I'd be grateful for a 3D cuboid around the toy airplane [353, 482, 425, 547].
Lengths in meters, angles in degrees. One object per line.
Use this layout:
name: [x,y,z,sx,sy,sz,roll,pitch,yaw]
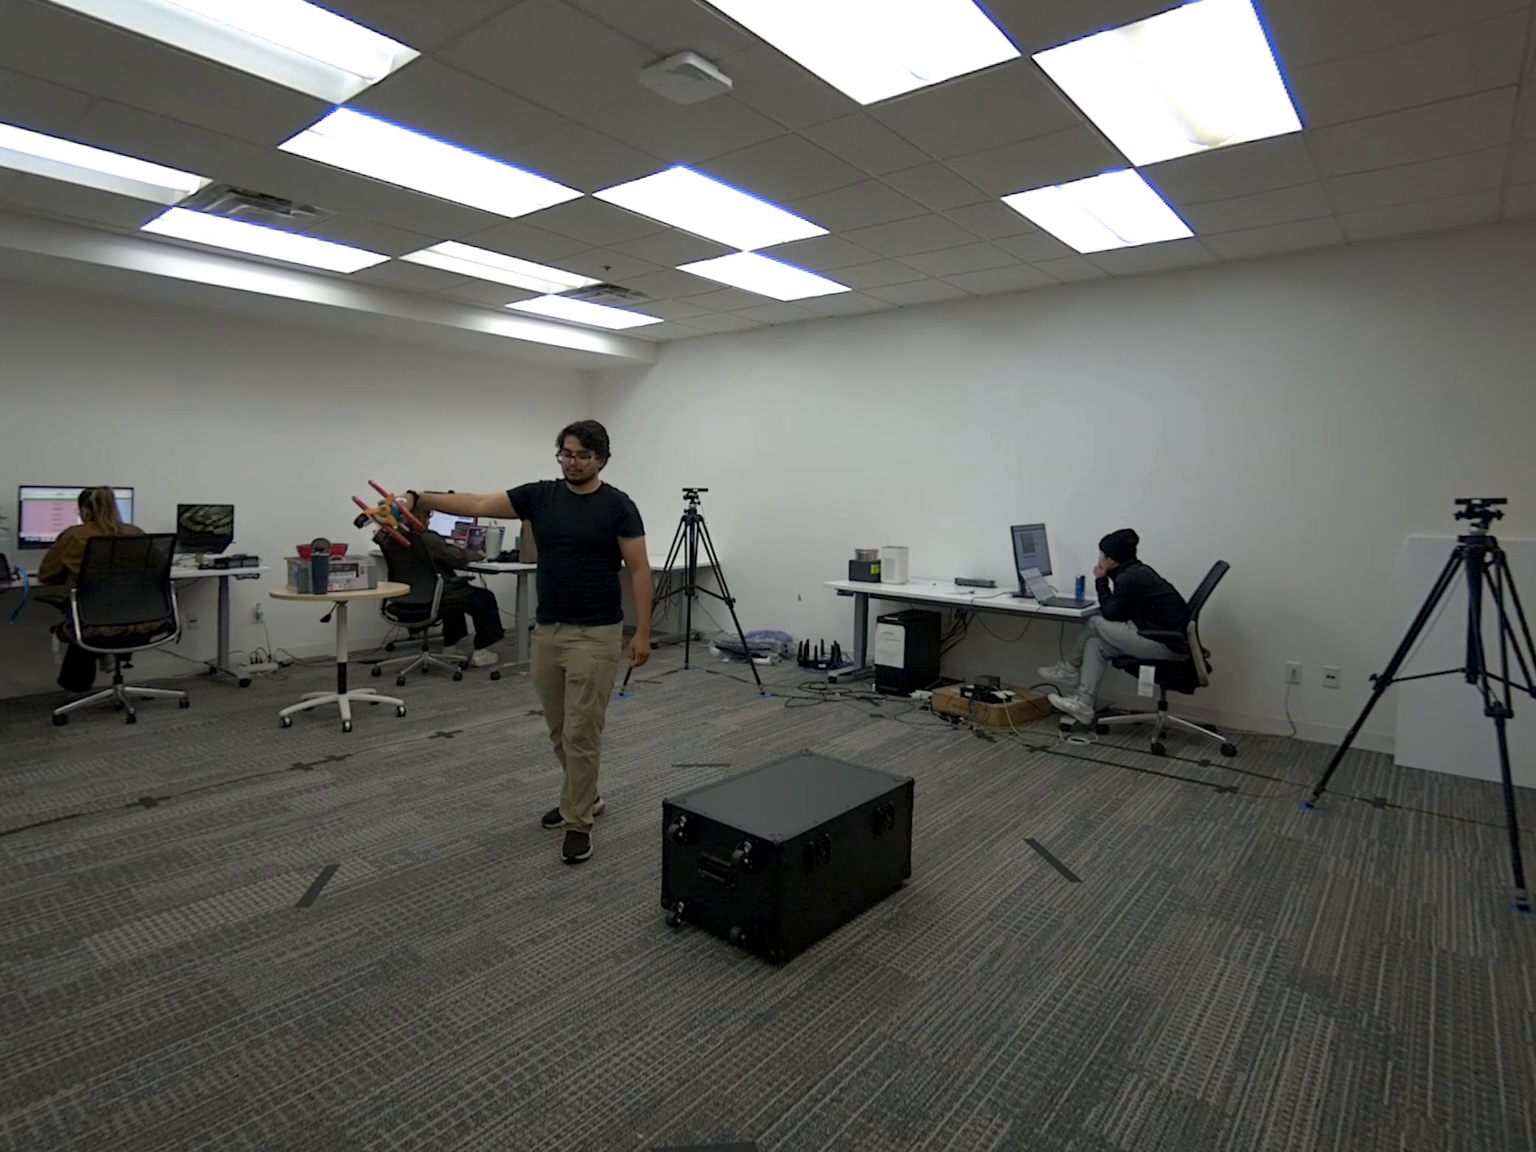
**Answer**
toy airplane: [-1.394,-0.228,3.060,0.241,0.156,0.270,43,0,-37]
